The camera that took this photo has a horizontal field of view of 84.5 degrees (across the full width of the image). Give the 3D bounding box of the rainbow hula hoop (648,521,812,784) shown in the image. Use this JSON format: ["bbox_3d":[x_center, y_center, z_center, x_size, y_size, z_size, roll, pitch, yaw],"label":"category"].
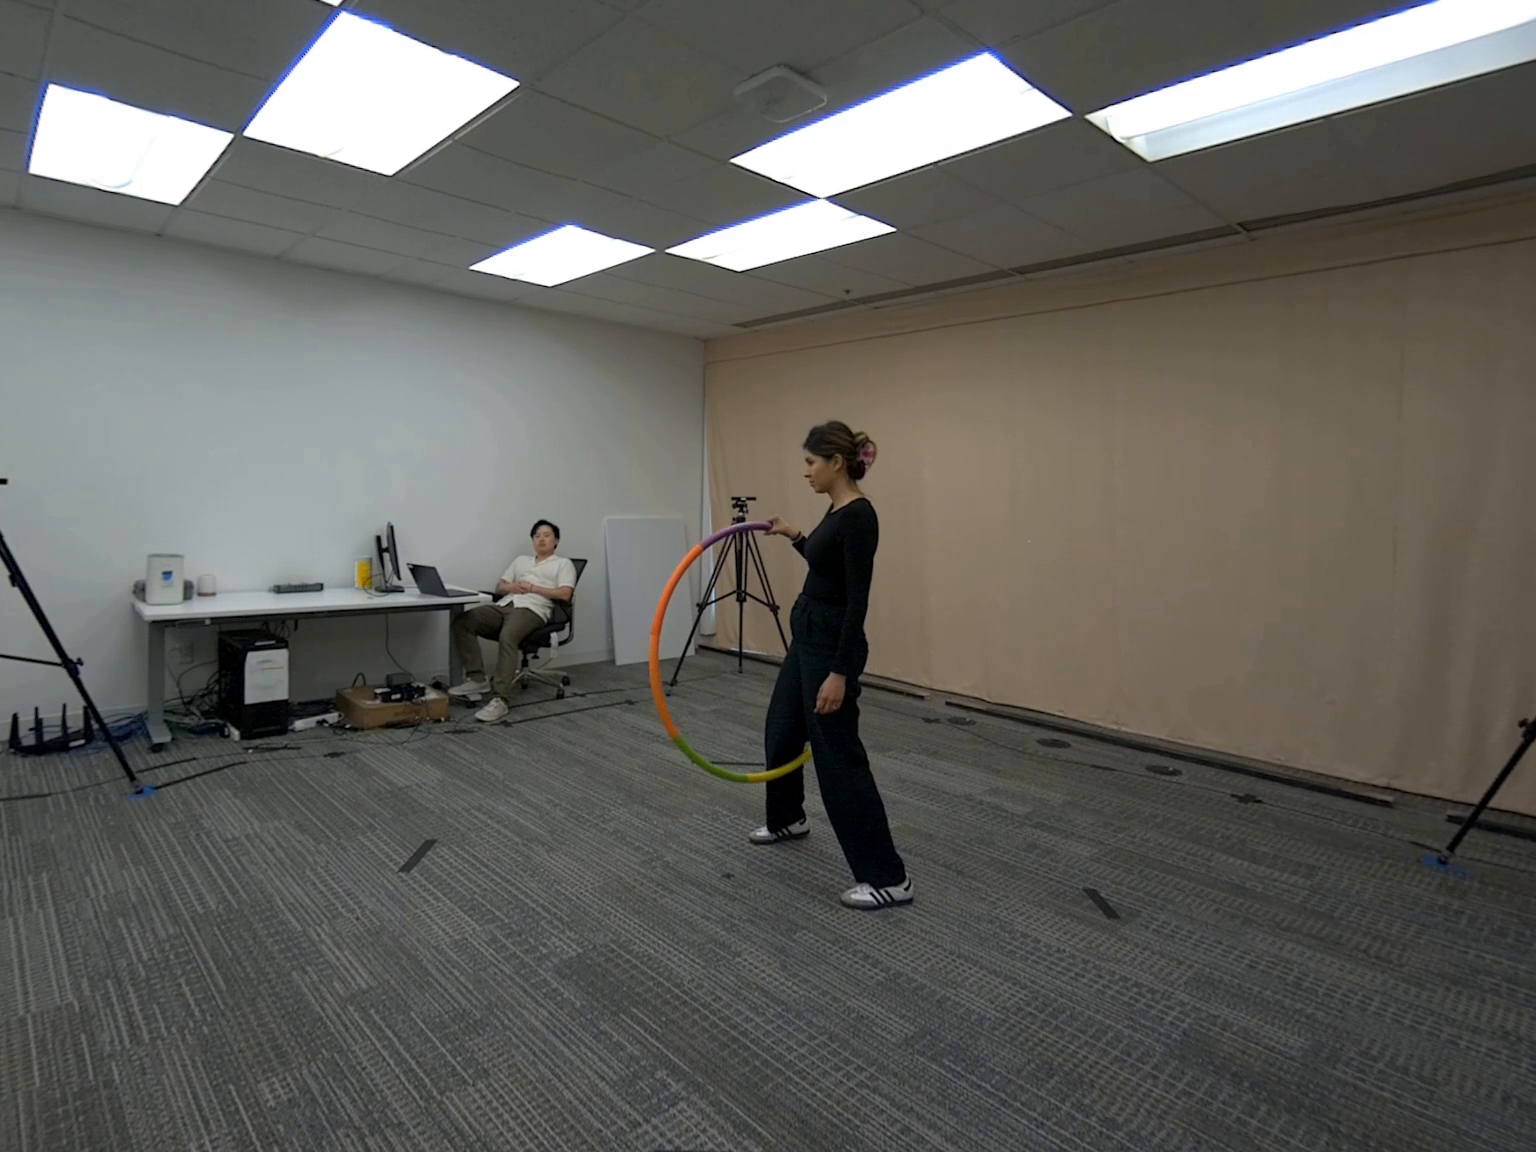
[{"bbox_3d":[-0.027,0.283,3.225,0.957,0.979,0.036,-2,-1,-37],"label":"rainbow hula hoop"}]
